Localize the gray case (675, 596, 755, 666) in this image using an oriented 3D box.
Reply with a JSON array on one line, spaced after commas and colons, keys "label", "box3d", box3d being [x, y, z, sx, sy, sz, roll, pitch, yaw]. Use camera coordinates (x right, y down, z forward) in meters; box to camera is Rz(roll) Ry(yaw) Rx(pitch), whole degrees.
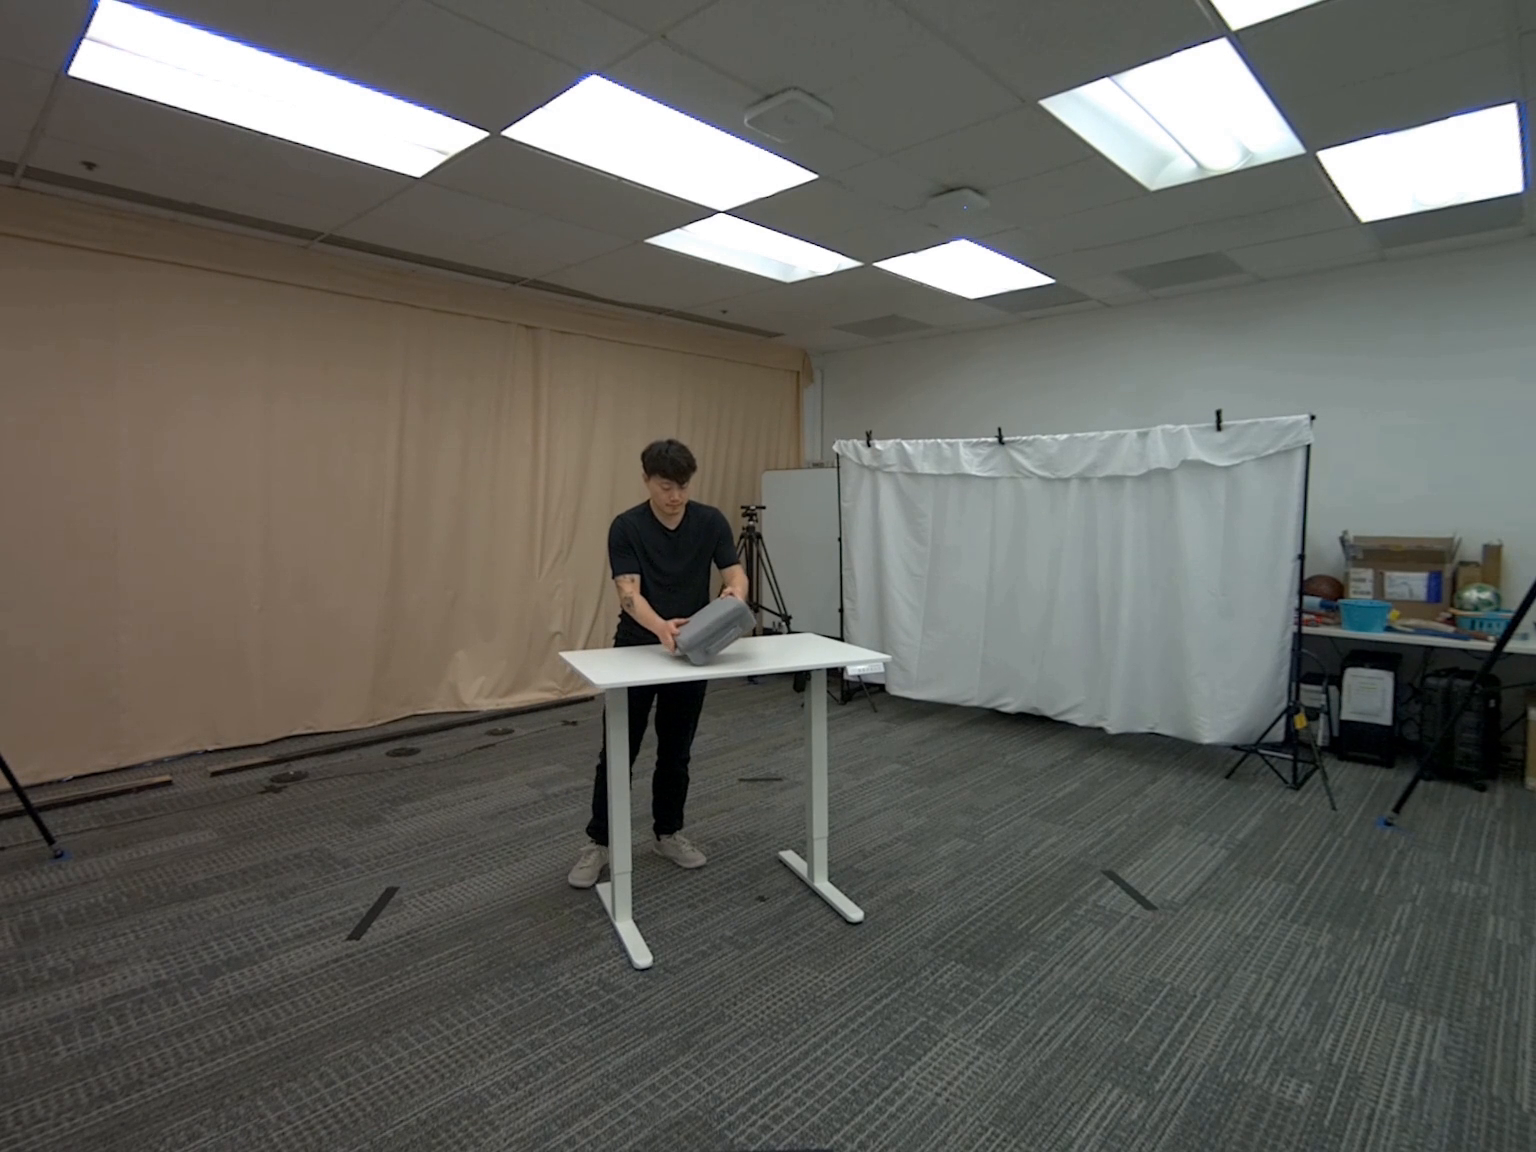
[{"label": "gray case", "box3d": [-0.186, 0.176, 2.792, 0.256, 0.103, 0.264, -35, 11, -7]}]
